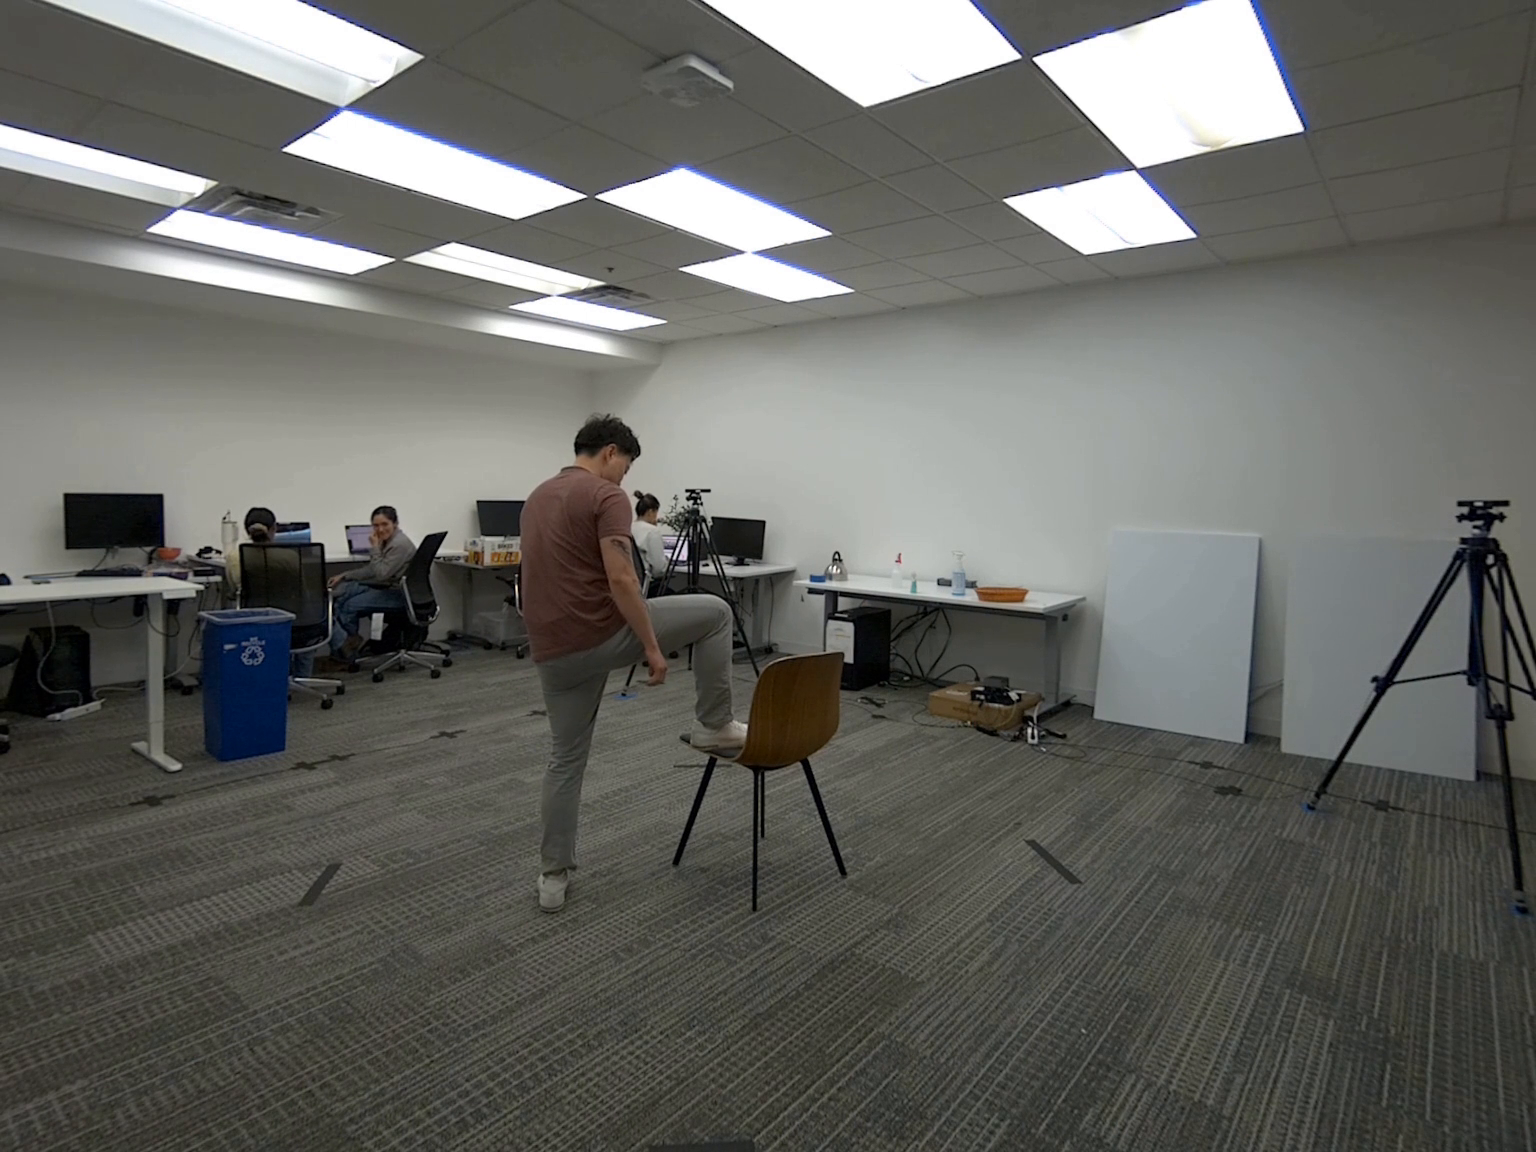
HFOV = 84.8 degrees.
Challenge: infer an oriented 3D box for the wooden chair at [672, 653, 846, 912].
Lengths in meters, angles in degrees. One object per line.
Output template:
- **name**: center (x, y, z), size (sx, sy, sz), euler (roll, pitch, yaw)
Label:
- **wooden chair**: center (-0.039, 0.654, 3.100), size (0.463, 0.872, 0.542), euler (-2, 9, -41)
